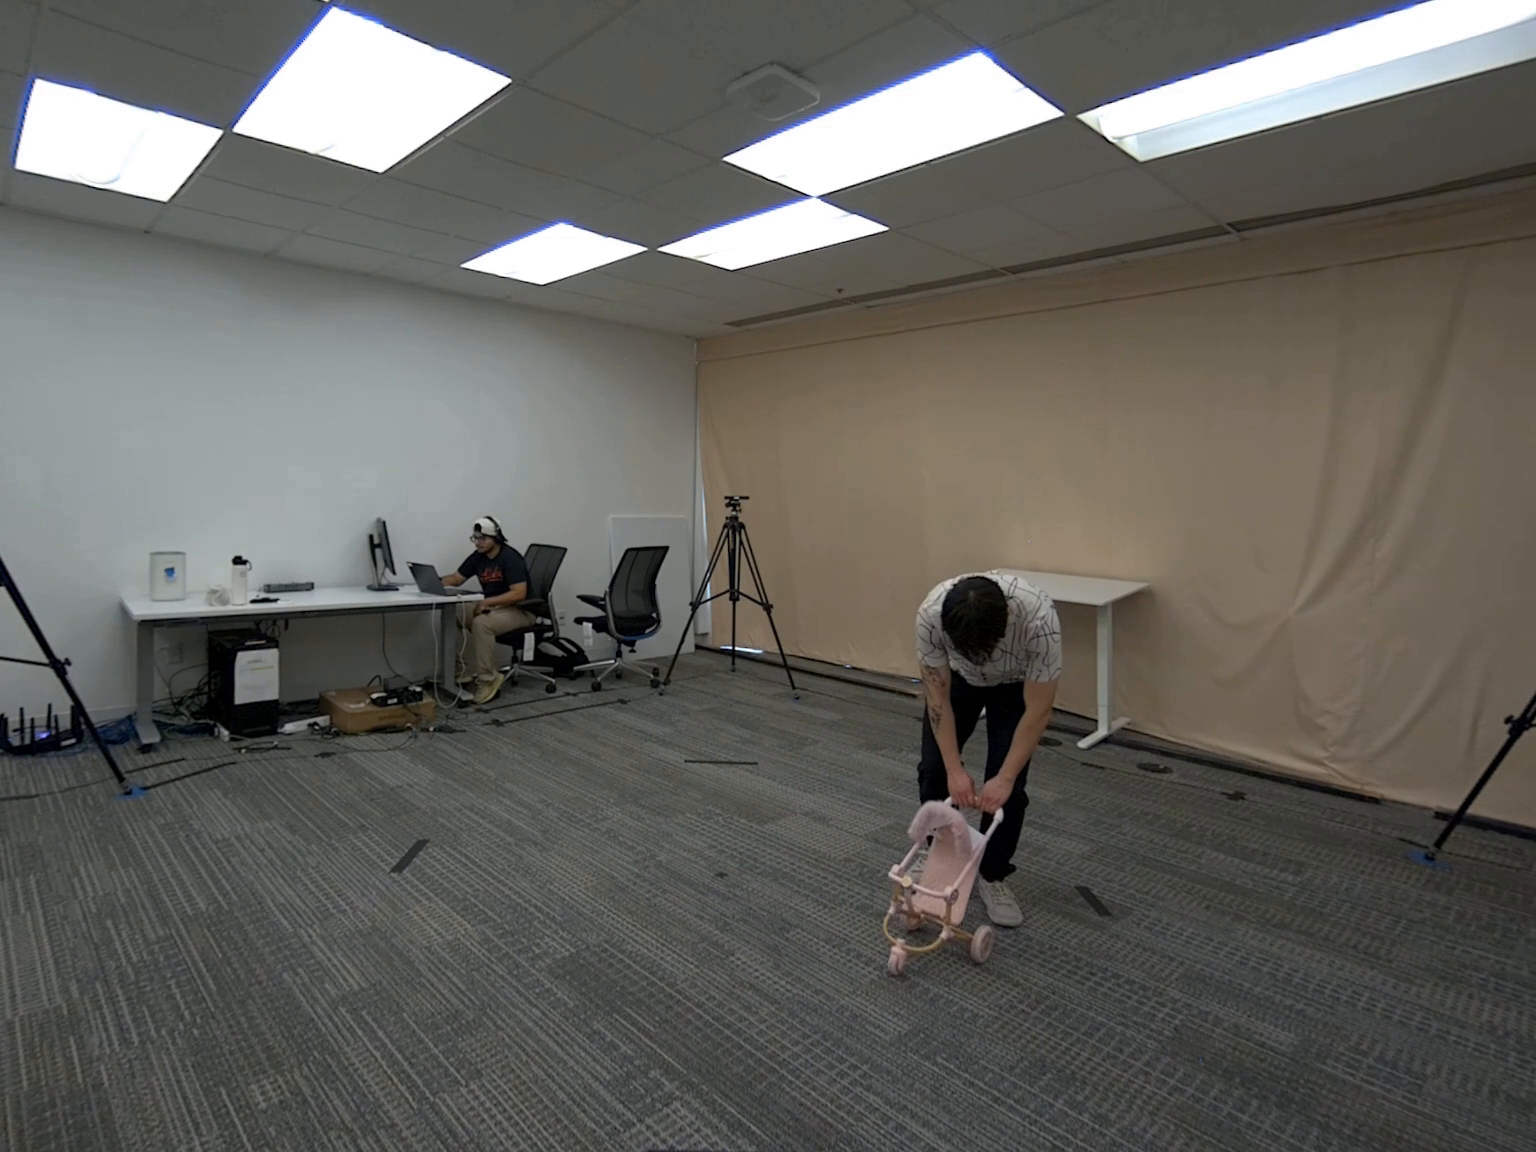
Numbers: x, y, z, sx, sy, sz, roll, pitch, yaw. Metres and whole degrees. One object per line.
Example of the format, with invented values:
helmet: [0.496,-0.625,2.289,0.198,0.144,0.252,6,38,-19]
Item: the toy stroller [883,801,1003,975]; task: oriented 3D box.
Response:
toy stroller: [0.514,0.942,2.594,0.331,0.537,0.288,19,-8,-40]
